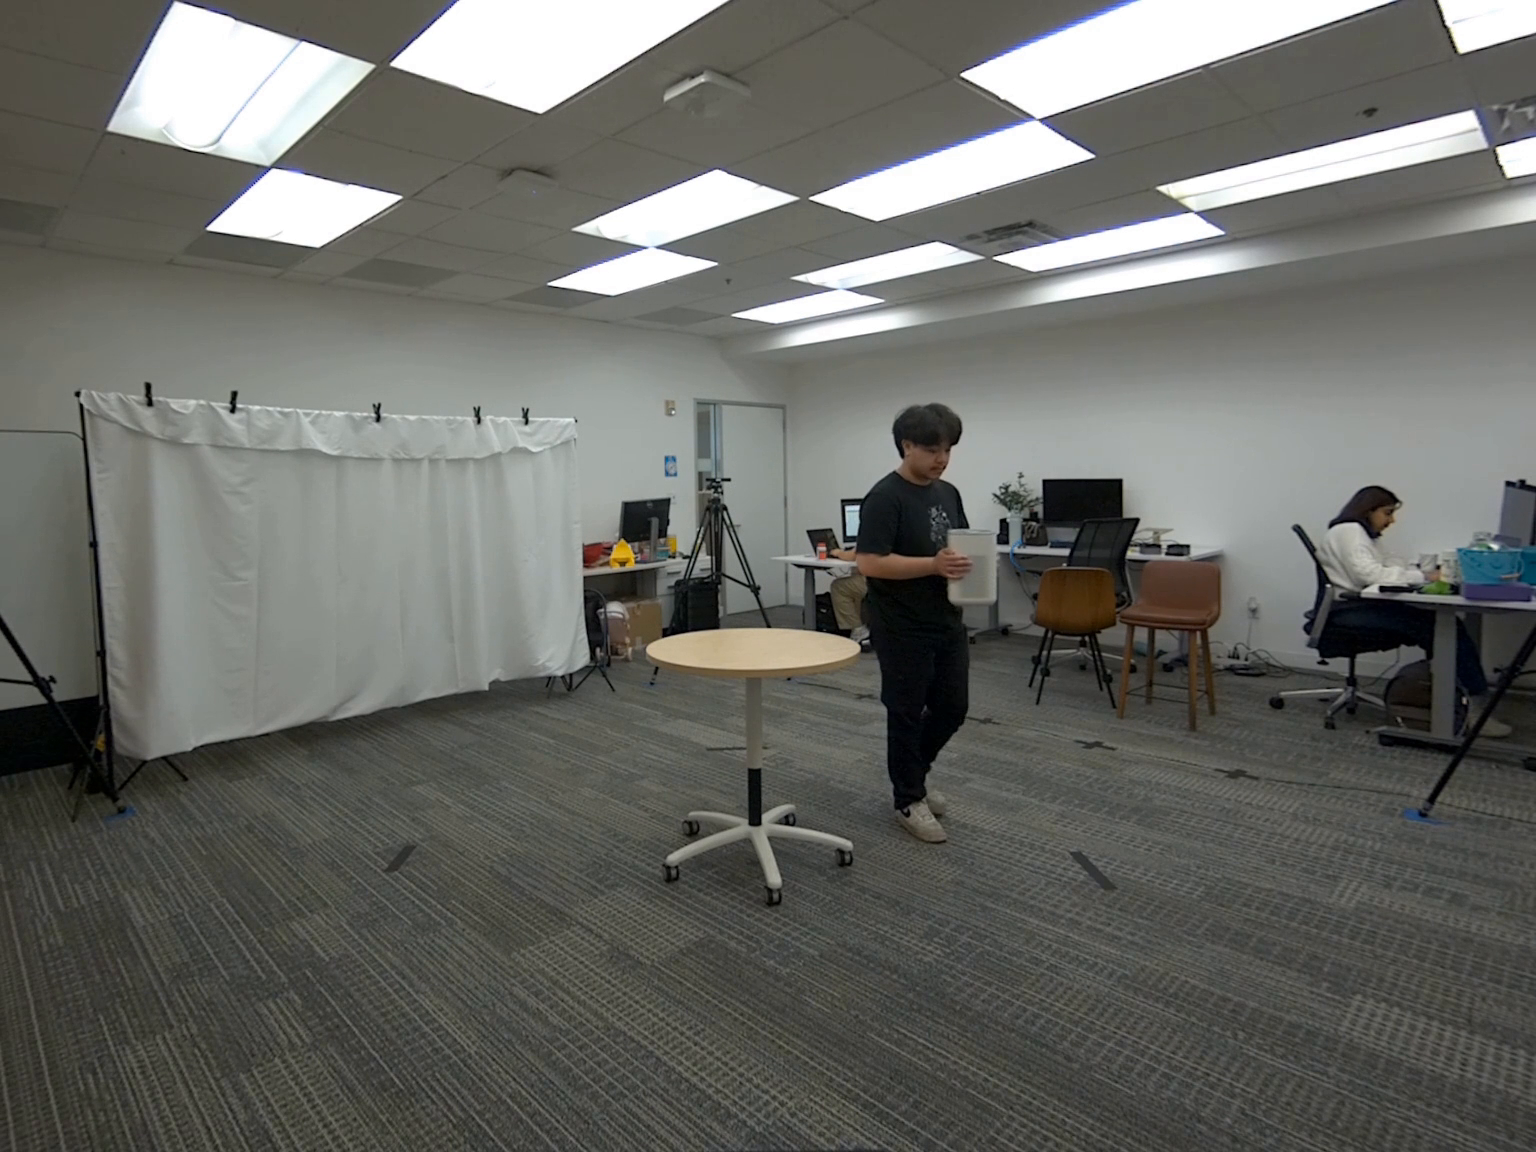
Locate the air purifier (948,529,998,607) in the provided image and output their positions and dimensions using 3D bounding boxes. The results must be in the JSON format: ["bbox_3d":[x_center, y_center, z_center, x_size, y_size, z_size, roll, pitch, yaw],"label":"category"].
[{"bbox_3d":[0.734,-0.030,3.108,0.174,0.264,0.170,0,6,12],"label":"air purifier"}]
